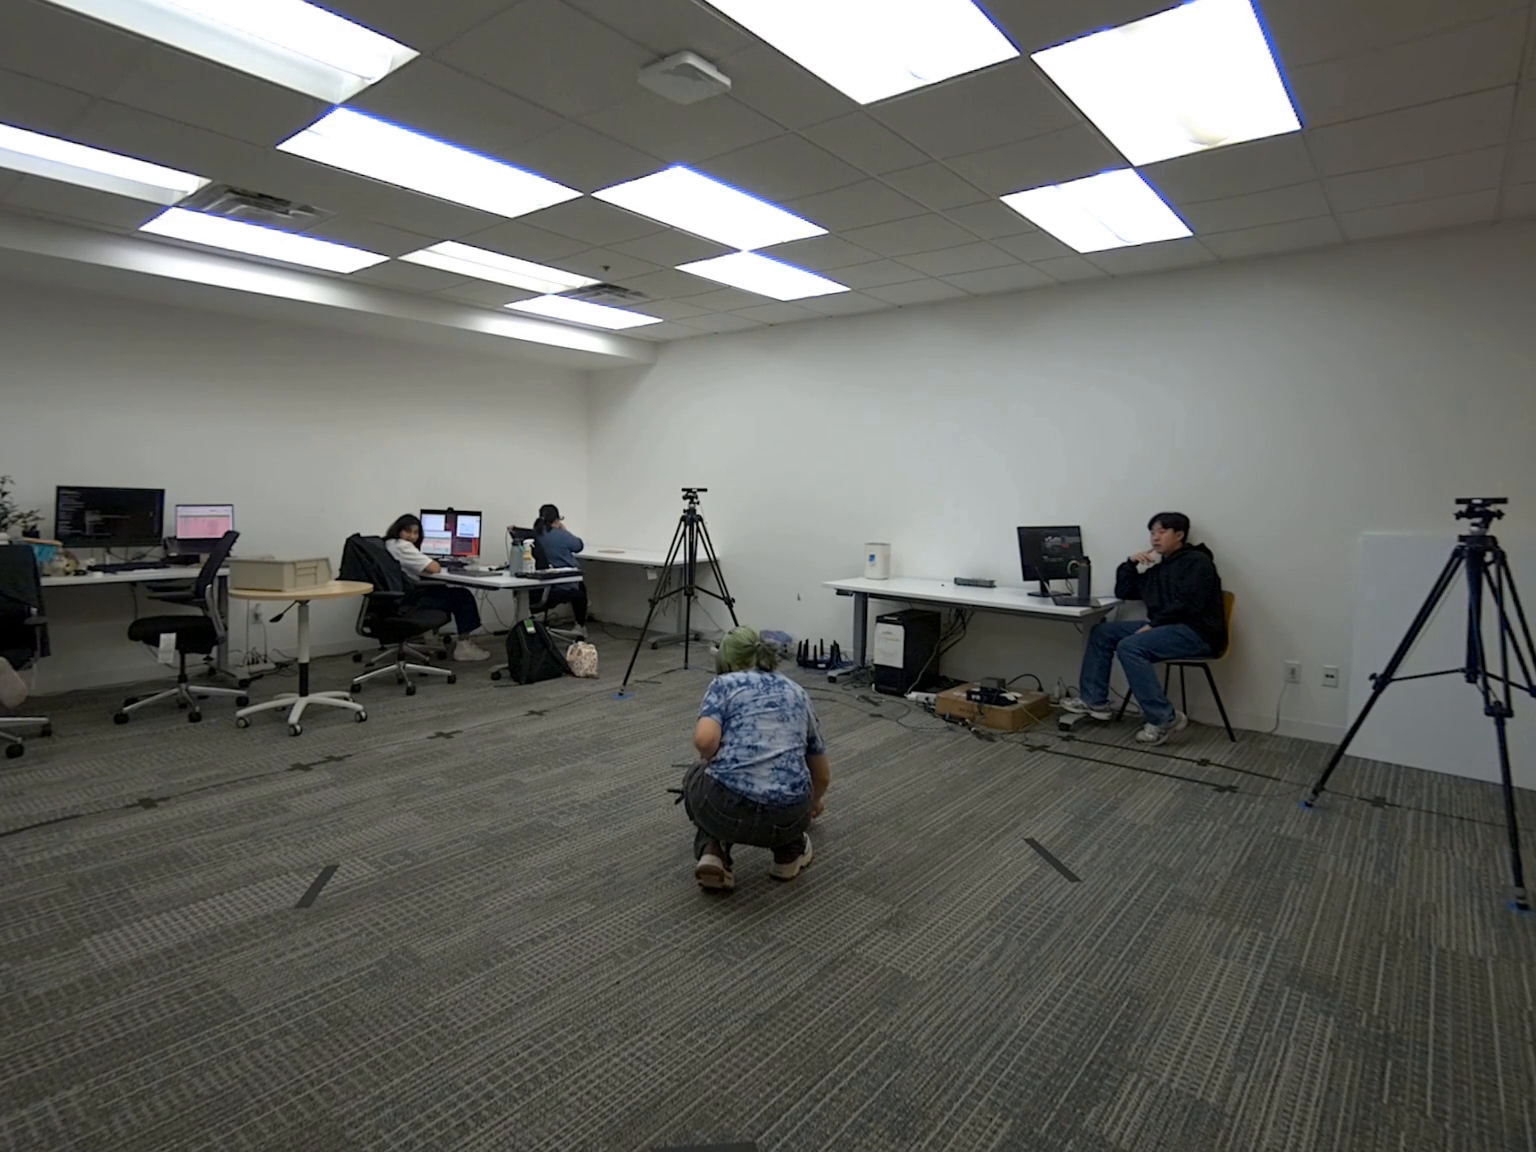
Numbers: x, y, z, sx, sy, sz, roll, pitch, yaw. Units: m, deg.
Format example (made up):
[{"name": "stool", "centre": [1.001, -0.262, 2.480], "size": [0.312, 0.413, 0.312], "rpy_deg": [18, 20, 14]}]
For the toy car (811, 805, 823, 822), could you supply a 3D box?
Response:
[{"name": "toy car", "centre": [0.071, 0.994, 3.577], "size": [0.259, 0.083, 0.128], "rpy_deg": [-8, 1, 19]}]
